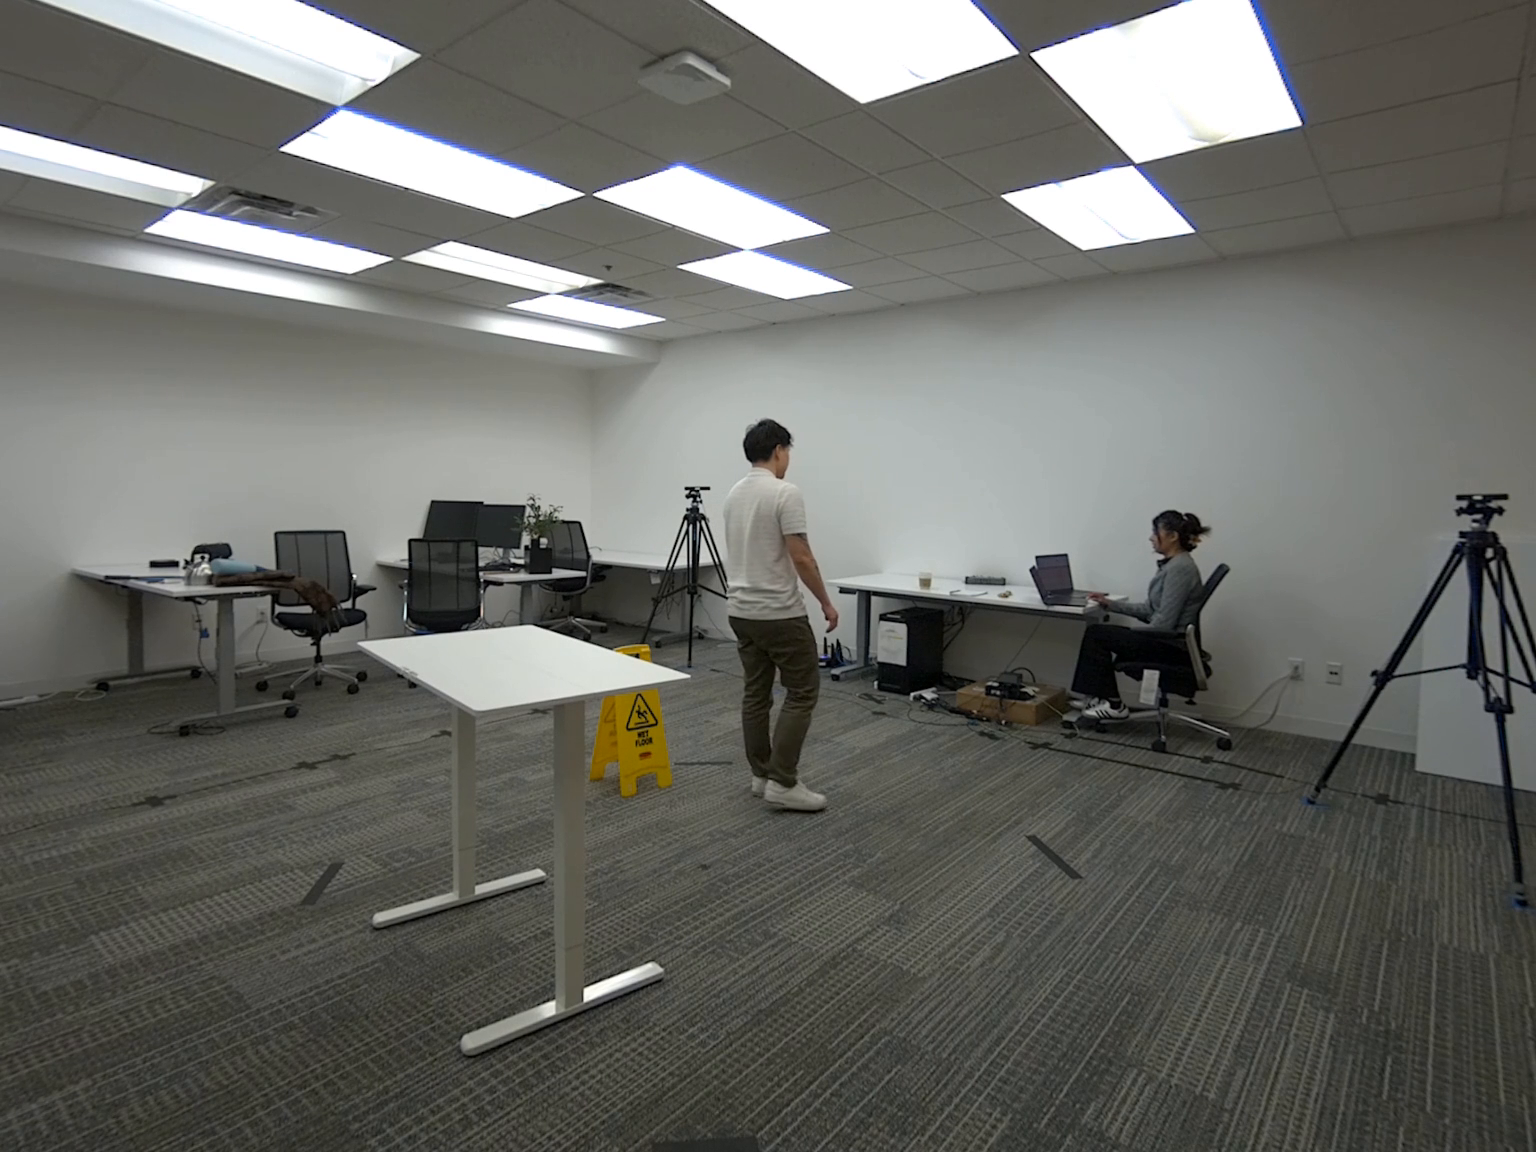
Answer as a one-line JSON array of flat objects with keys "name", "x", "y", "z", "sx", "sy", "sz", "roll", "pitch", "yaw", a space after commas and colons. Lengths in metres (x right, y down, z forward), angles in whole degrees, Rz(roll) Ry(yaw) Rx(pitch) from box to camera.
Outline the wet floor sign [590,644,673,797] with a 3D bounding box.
[{"name": "wet floor sign", "x": -0.662, "y": 0.652, "z": 4.006, "sx": 0.274, "sy": 0.645, "sz": 0.299, "roll": -2, "pitch": 3, "yaw": -41}]
